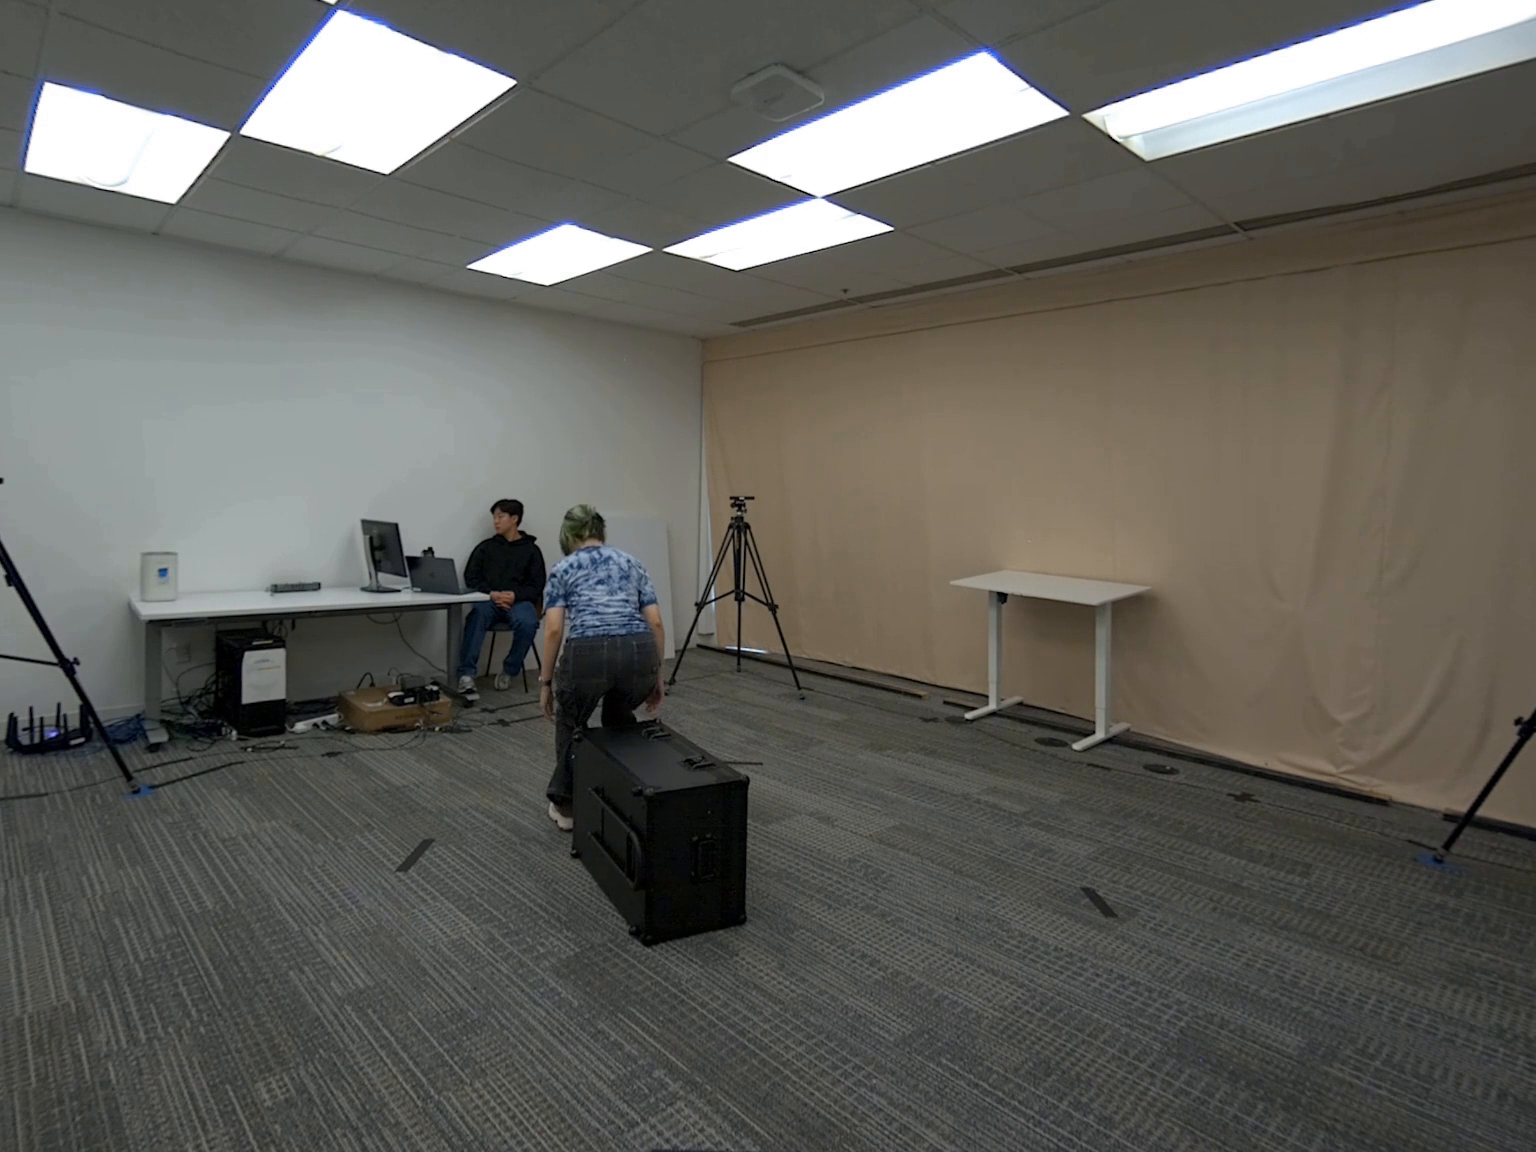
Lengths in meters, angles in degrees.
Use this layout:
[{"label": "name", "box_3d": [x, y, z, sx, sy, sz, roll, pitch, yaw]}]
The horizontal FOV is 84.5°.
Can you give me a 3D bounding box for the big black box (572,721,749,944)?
[{"label": "big black box", "box_3d": [-0.441, 0.864, 3.020, 0.389, 0.520, 0.880, 0, 4, -28]}]
